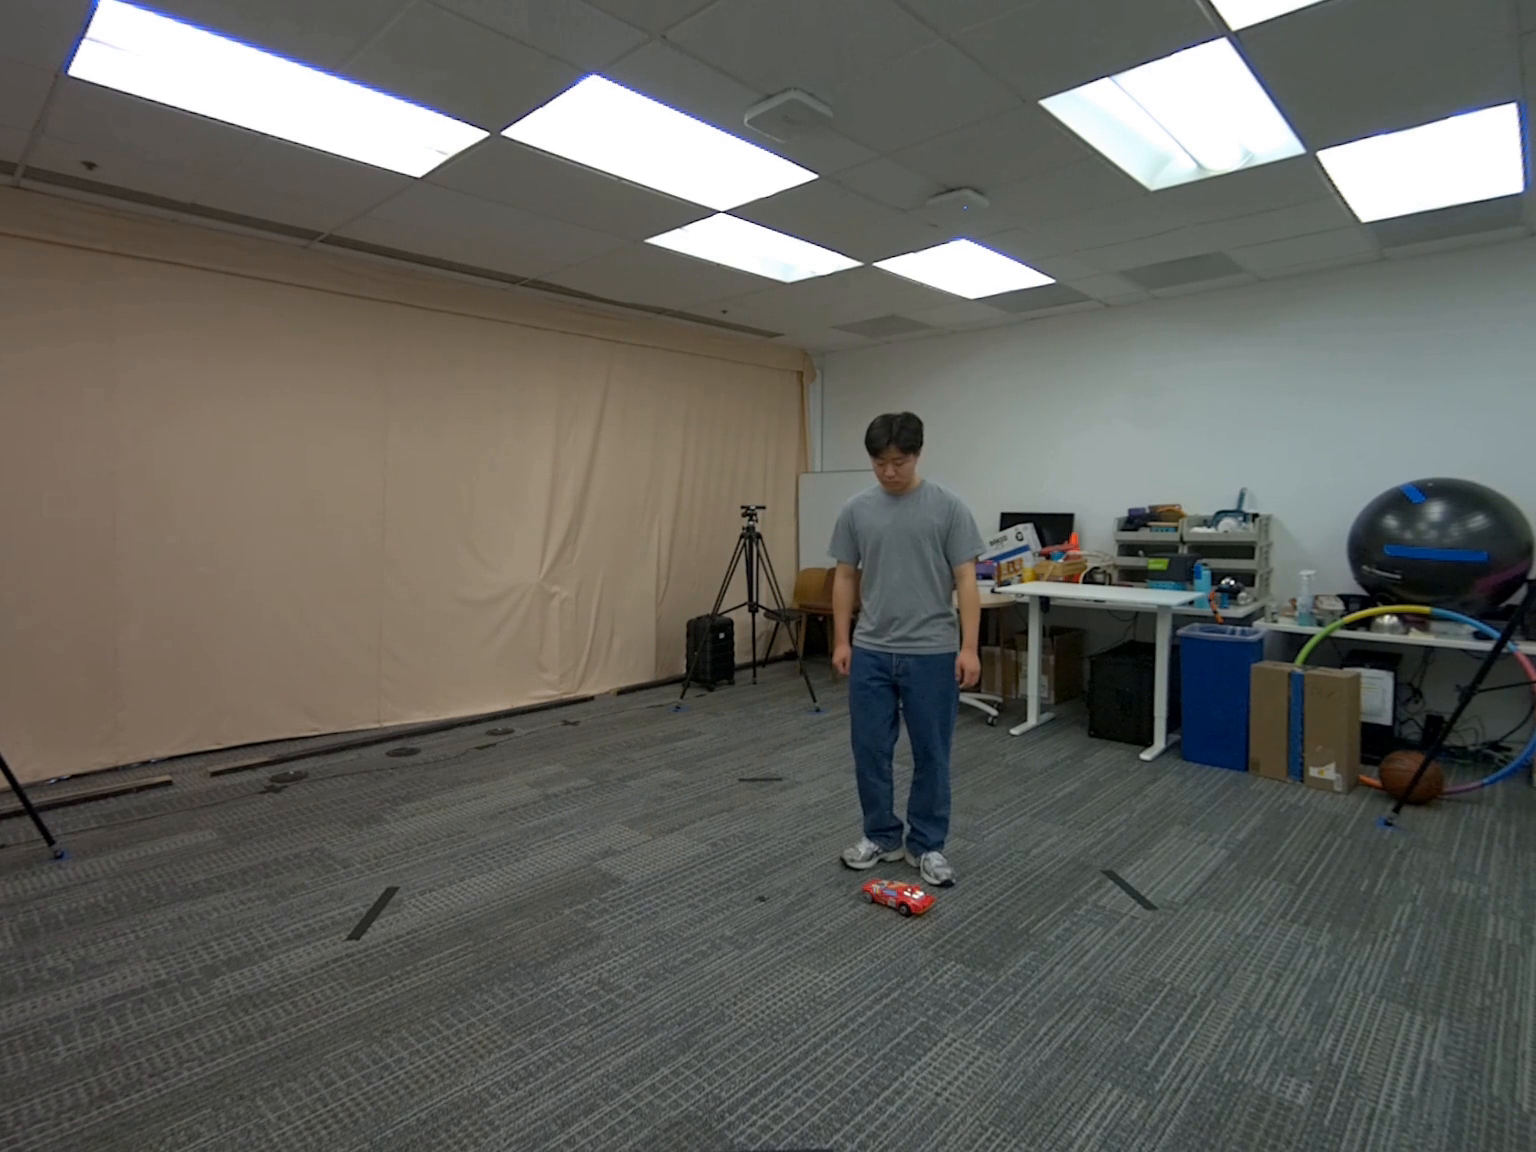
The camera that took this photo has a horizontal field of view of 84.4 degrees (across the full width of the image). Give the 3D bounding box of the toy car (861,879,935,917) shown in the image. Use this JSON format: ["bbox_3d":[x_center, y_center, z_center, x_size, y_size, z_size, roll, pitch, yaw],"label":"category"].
[{"bbox_3d":[0.460,1.113,2.918,0.262,0.083,0.126,-10,-3,42],"label":"toy car"}]
